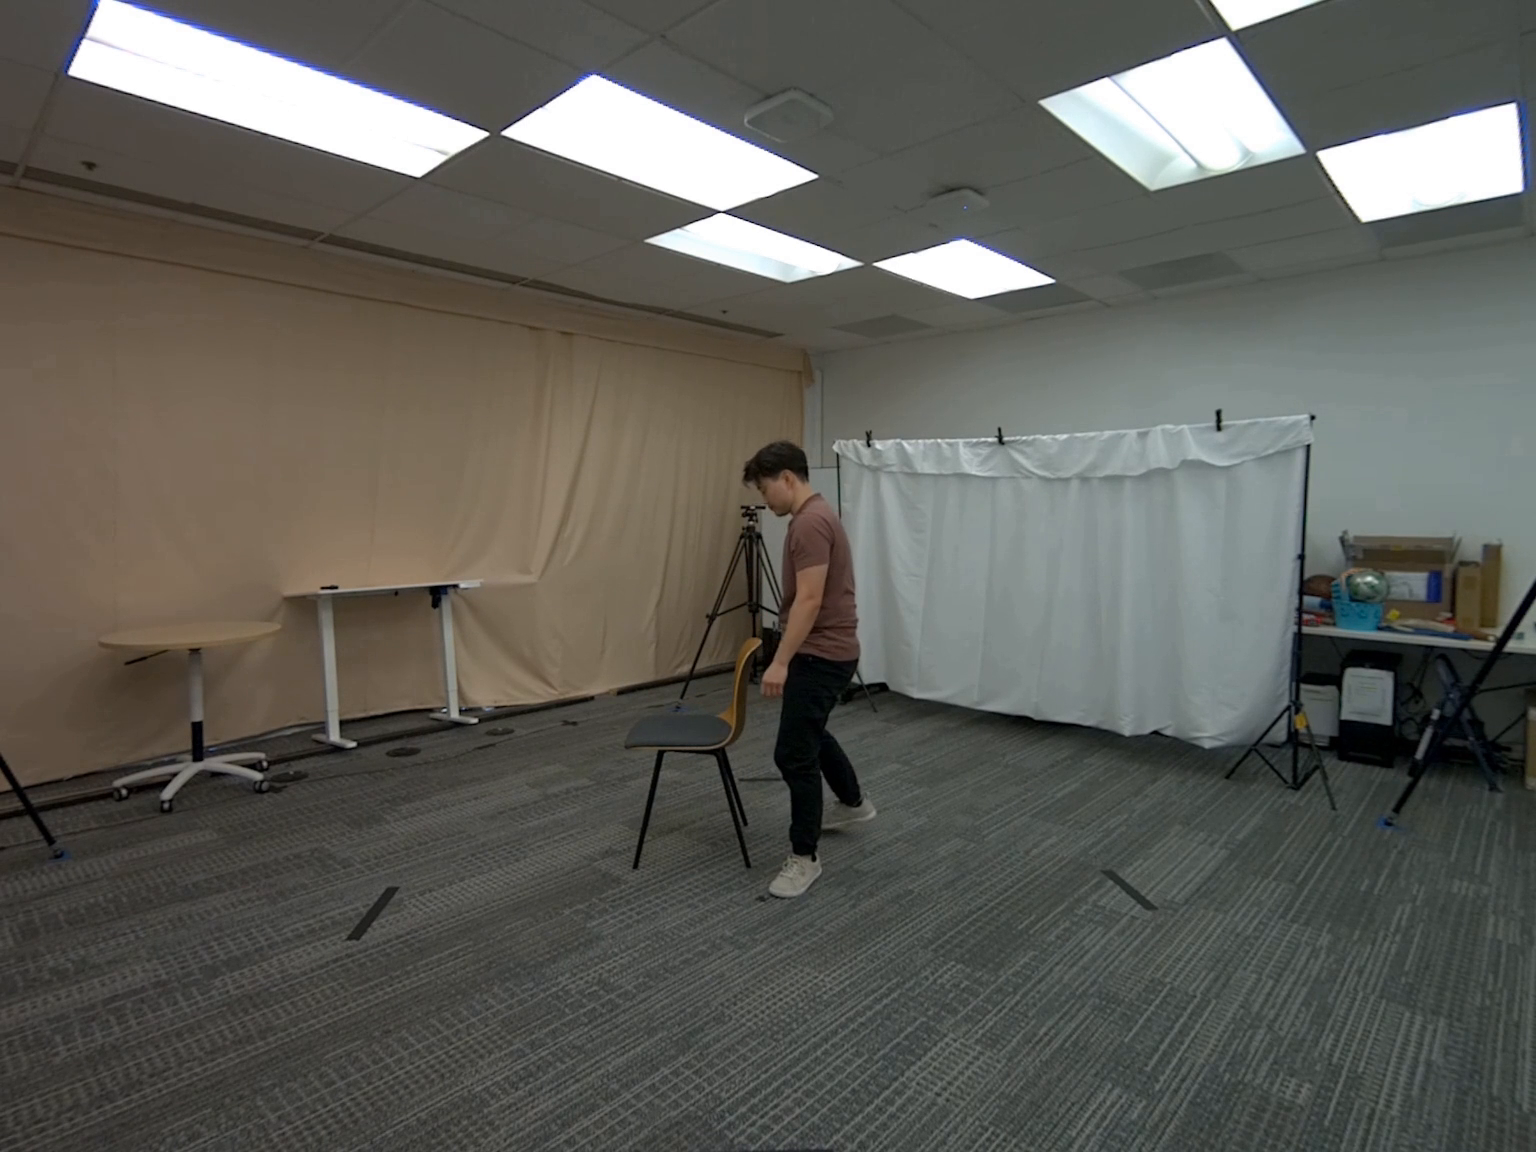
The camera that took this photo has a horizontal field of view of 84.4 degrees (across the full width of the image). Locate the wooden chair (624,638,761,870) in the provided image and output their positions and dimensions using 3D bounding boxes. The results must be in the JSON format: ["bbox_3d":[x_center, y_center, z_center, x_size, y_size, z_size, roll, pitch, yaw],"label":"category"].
[{"bbox_3d":[-0.316,0.683,3.424,0.523,0.875,0.479,4,4,-1],"label":"wooden chair"}]
